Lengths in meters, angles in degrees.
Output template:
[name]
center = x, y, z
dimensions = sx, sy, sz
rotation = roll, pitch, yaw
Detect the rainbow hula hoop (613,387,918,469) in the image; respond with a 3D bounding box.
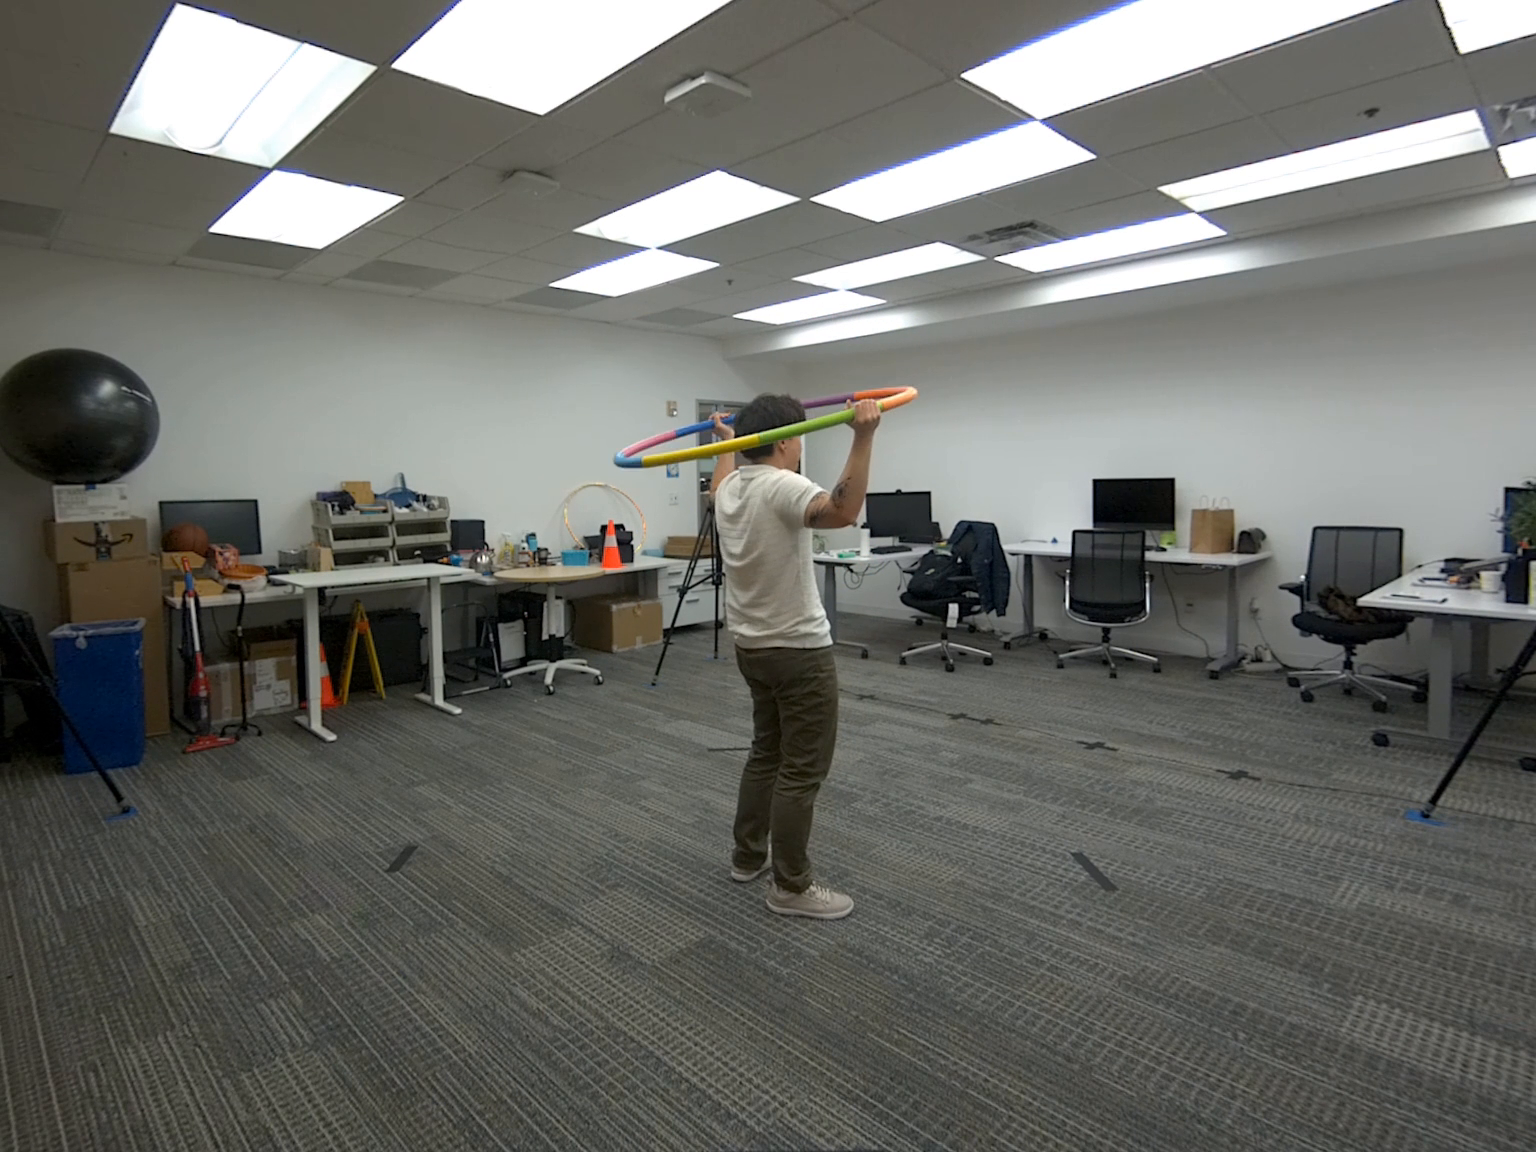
[rainbow hula hoop]
center = -0.025, -0.486, 2.741
dimensions = 0.980, 0.035, 0.991
rotation = -13, 14, 1
